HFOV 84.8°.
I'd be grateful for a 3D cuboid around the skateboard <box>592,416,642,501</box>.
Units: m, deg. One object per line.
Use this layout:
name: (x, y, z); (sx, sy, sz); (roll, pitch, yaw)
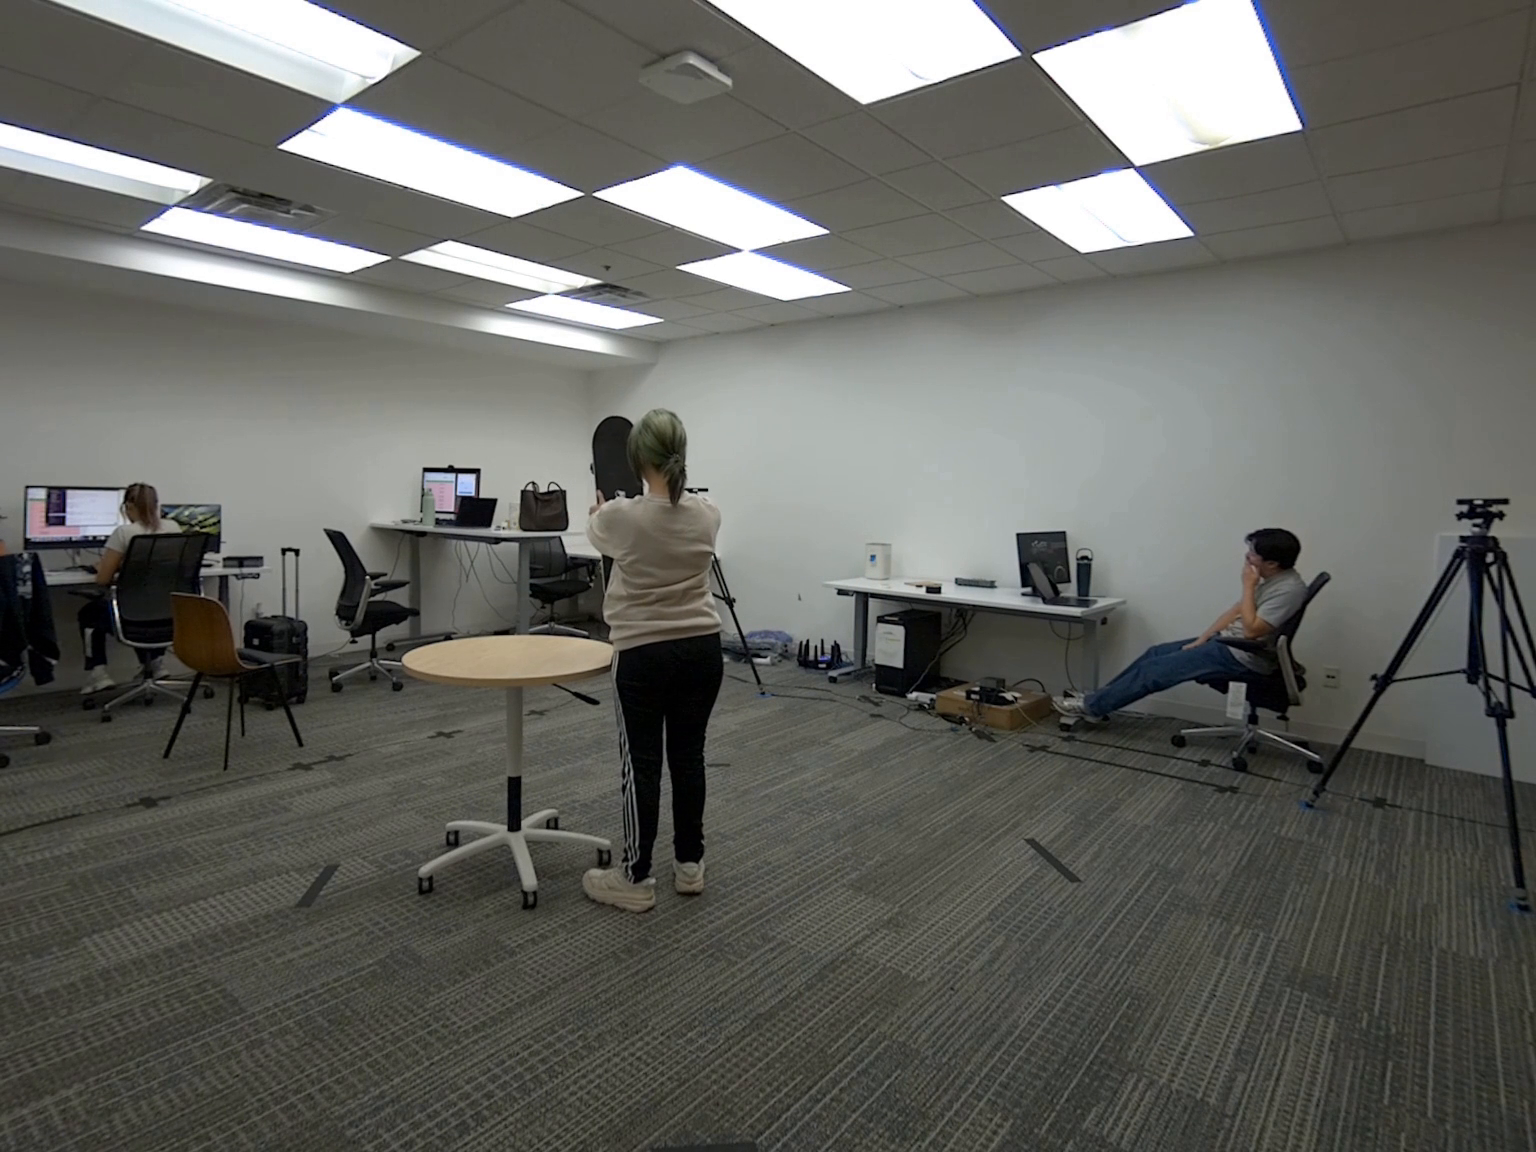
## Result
skateboard: (-0.592, -0.240, 3.366); (0.190, 0.781, 0.113); (-7, 5, -21)
